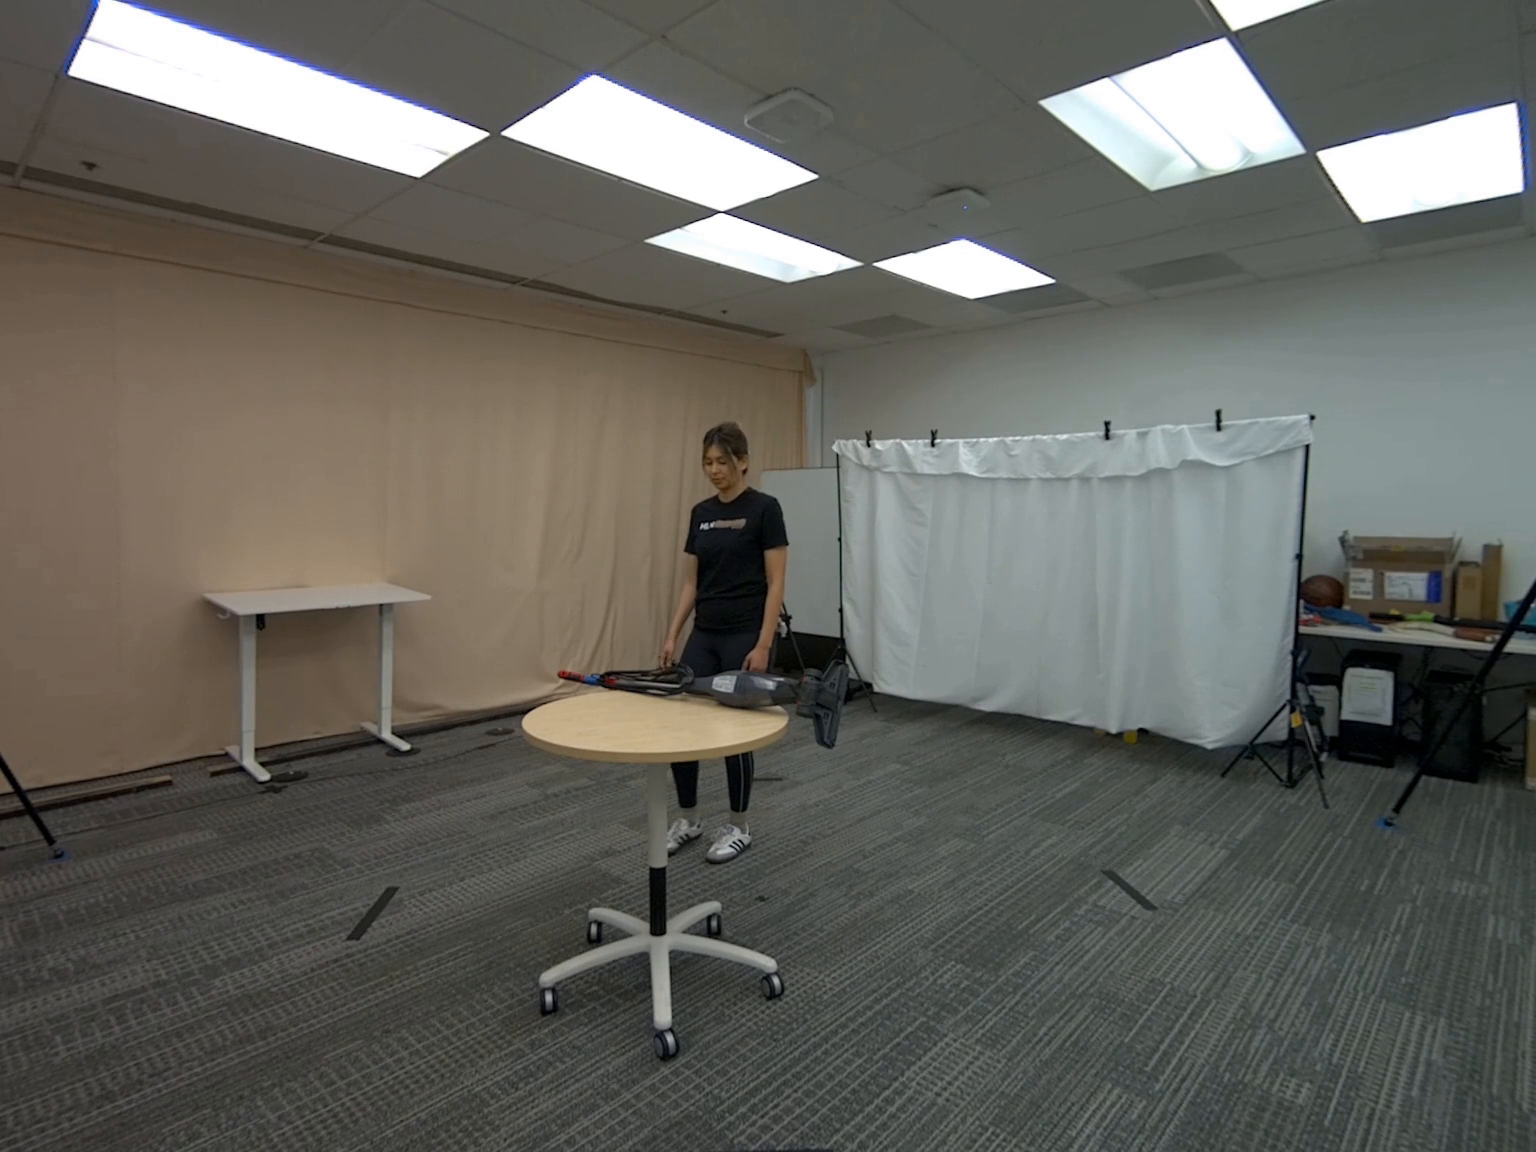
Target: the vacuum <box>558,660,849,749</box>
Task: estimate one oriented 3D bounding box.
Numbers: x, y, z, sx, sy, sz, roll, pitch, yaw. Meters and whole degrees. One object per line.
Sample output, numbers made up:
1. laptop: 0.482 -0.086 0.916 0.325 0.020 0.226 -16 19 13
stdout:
1. vacuum: -0.278 0.357 2.696 1.081 0.254 0.139 1 -27 33
